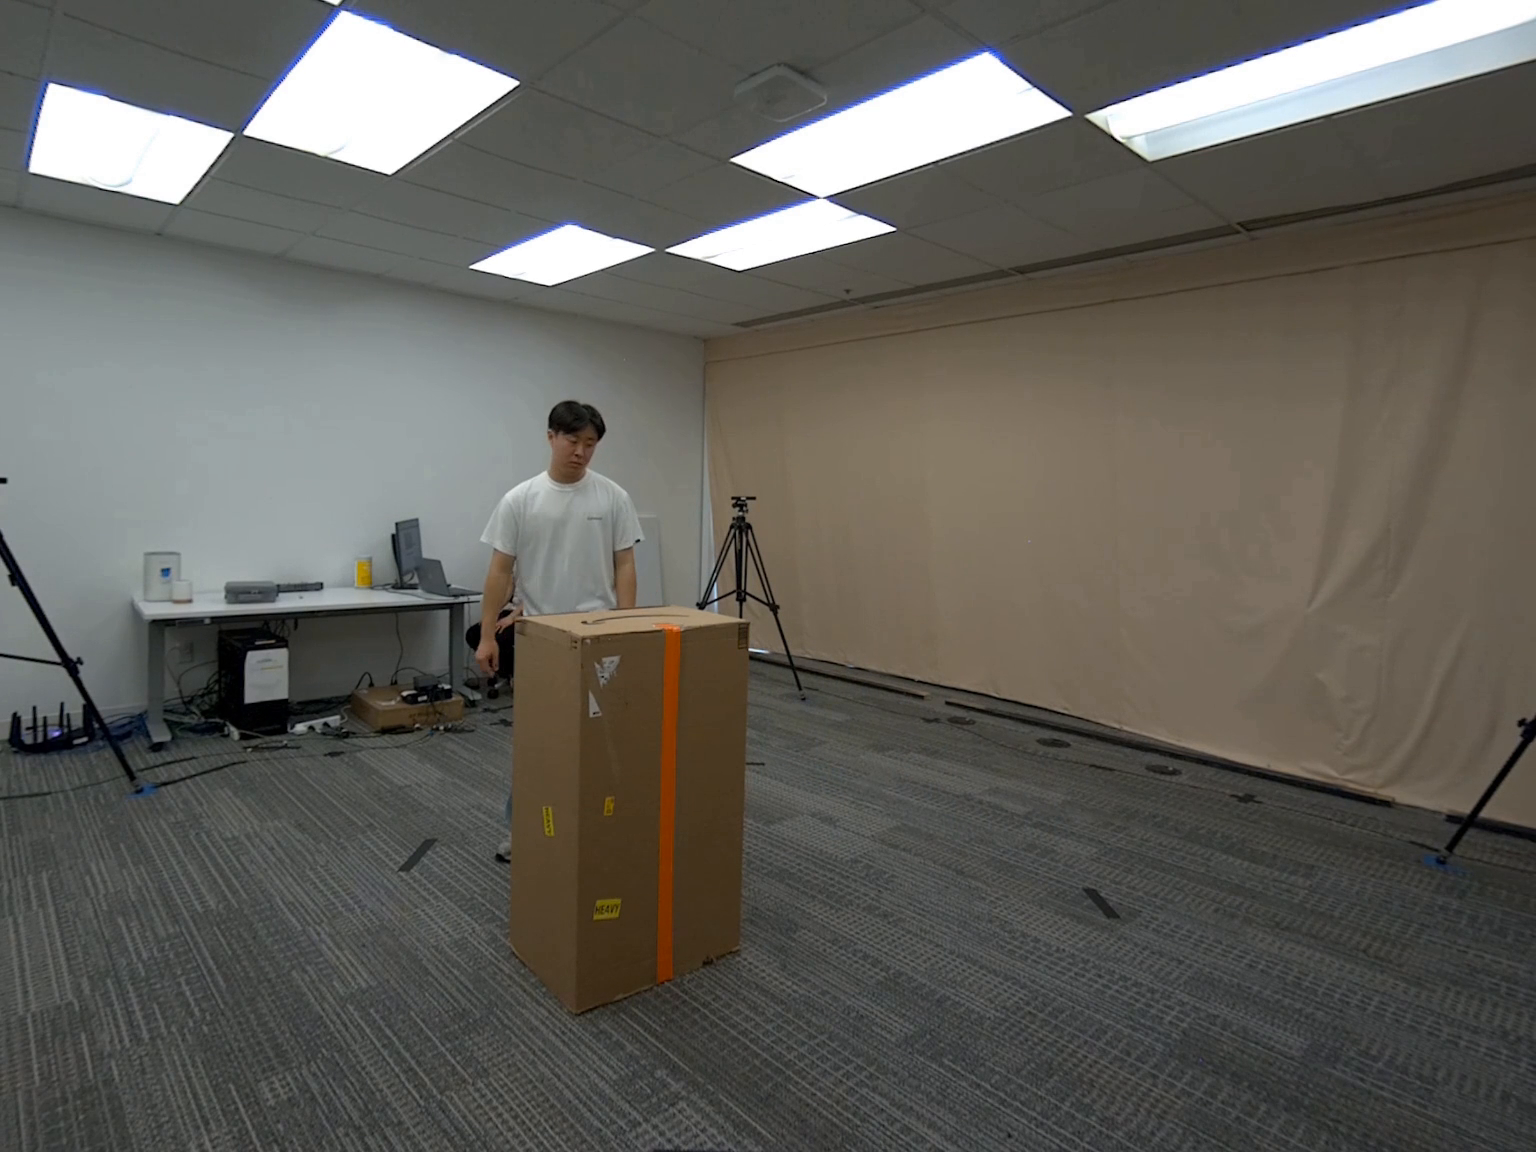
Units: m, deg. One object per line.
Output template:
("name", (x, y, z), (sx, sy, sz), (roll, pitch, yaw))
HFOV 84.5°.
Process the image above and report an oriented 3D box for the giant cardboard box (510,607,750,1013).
("giant cardboard box", (-0.418, 0.641, 2.556), (0.564, 1.024, 0.437), (-1, 4, -40))
